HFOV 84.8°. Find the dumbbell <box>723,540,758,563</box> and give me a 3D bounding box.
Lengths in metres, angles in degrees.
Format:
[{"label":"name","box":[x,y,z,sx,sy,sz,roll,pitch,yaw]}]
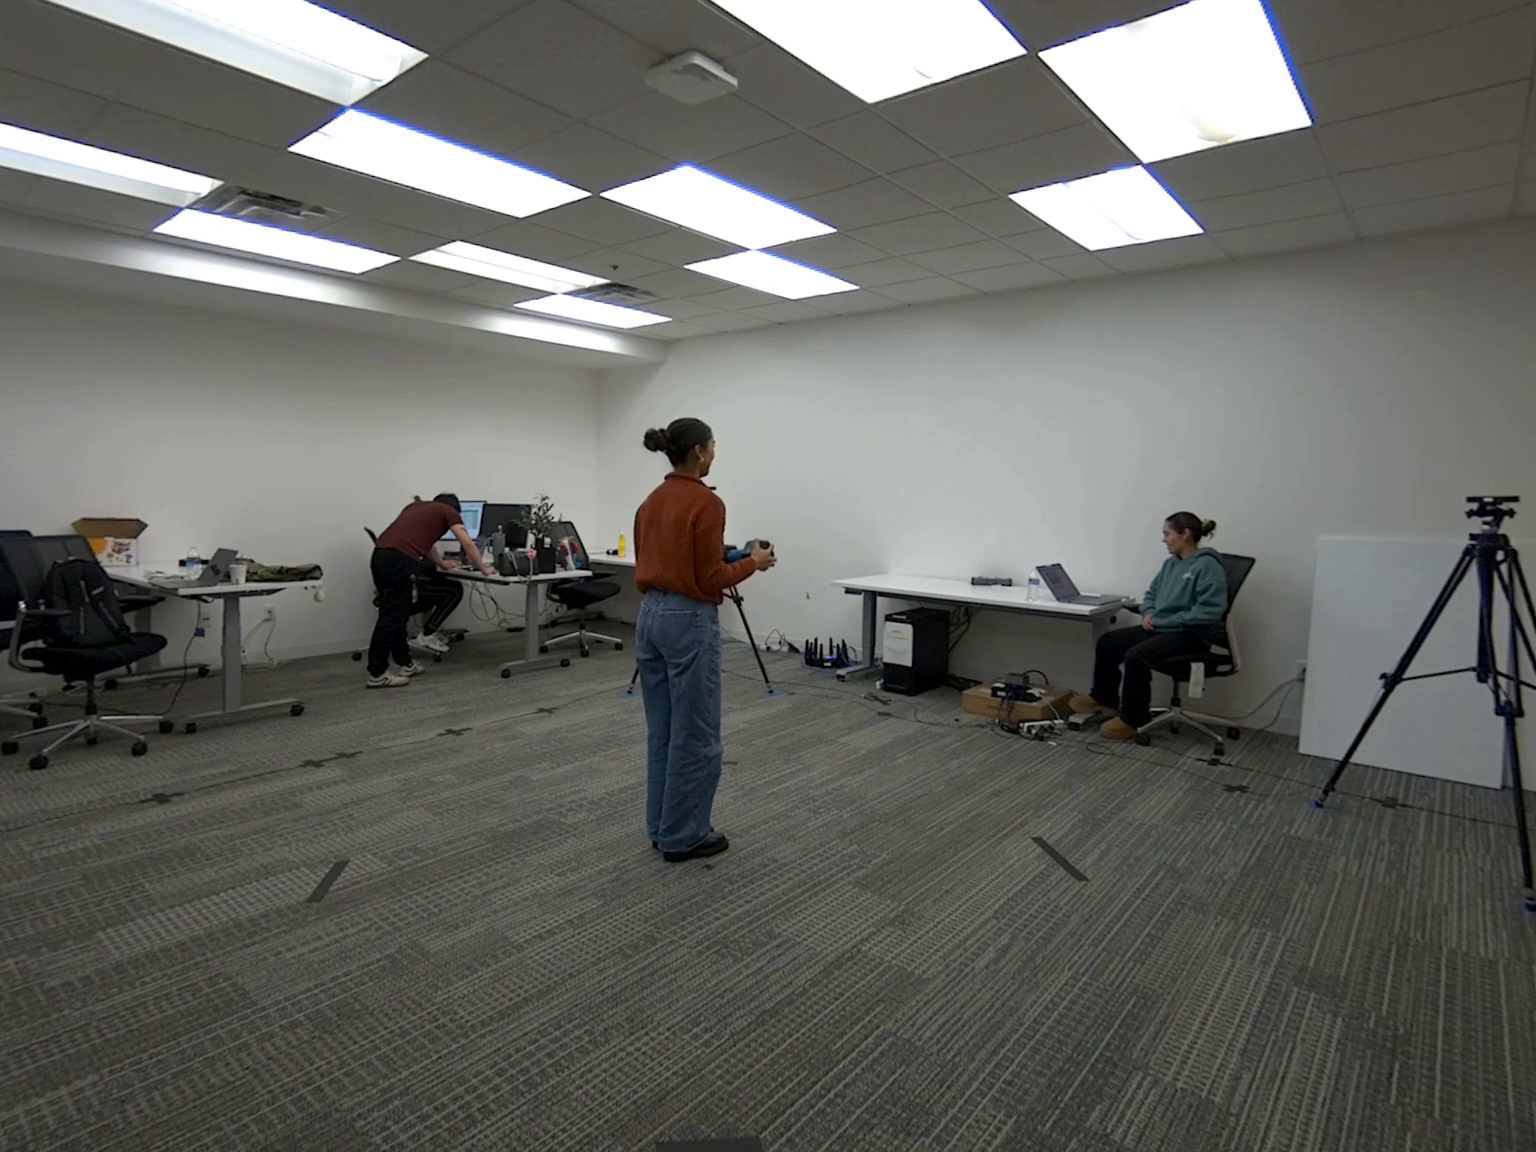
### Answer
[{"label":"dumbbell","box":[-0.133,-0.076,3.389,0.119,0.109,0.301,3,-5,-37]}]
